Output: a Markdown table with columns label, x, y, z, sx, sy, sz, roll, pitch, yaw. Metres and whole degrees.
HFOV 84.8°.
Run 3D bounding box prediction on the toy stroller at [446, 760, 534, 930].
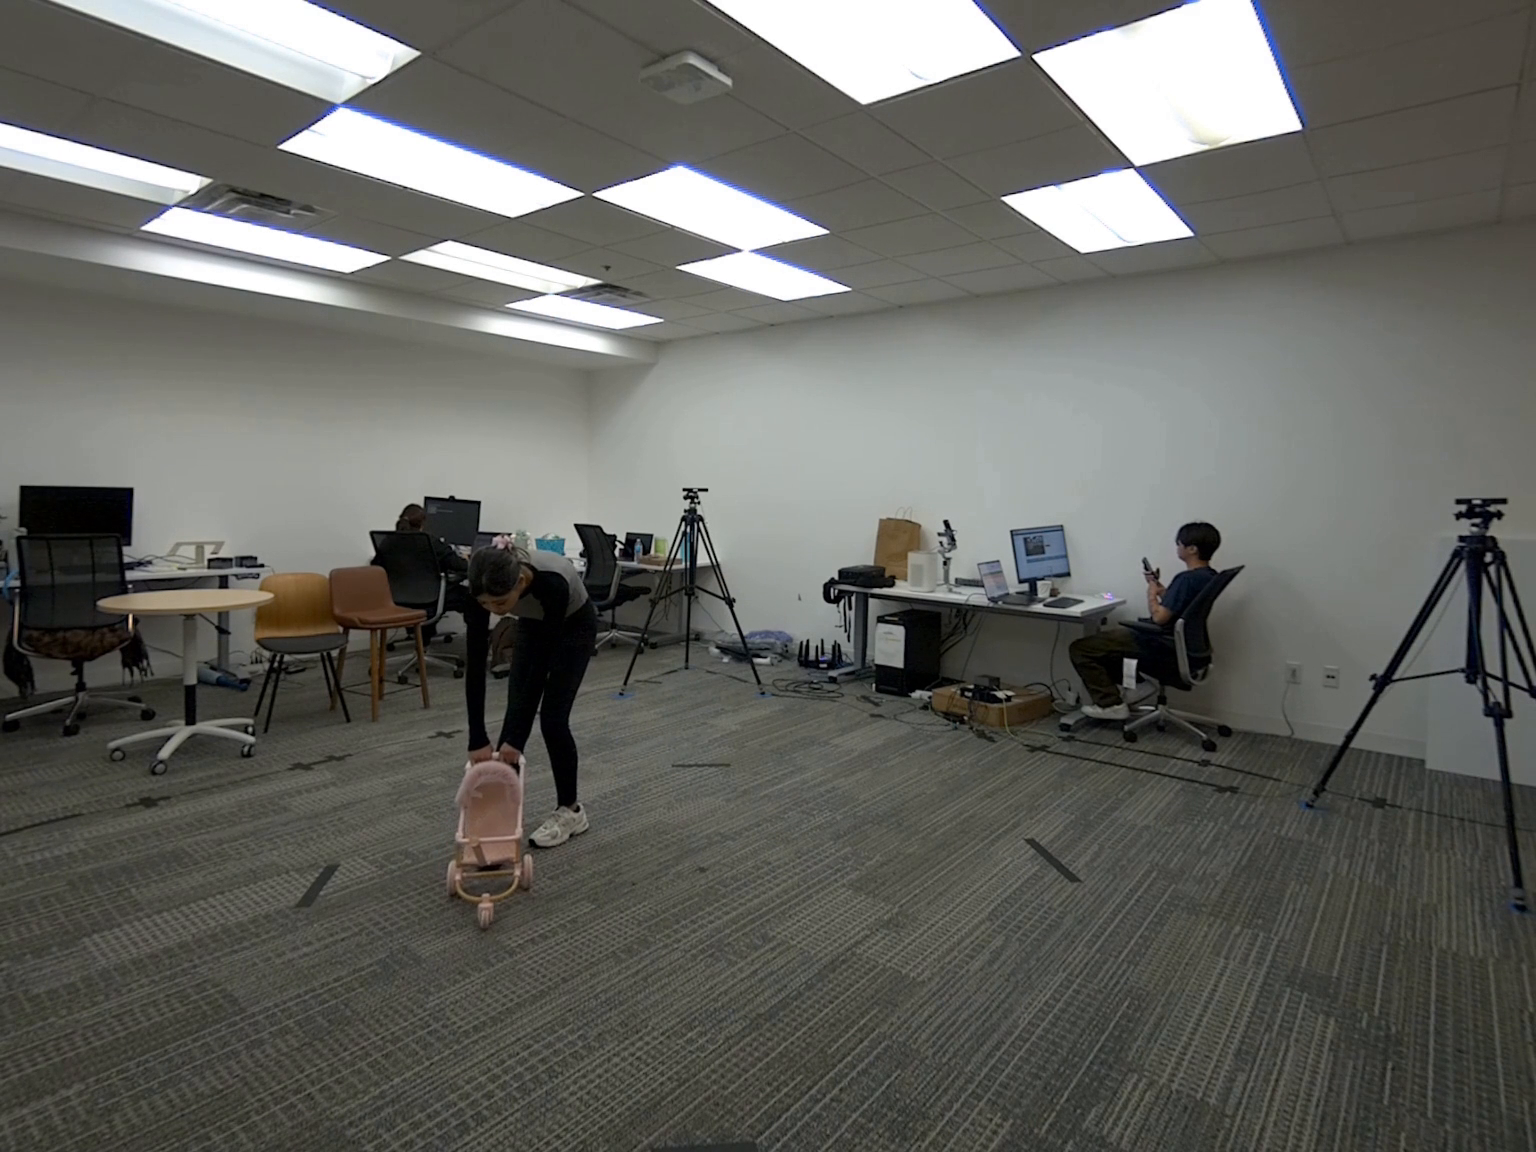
| label | x | y | z | sx | sy | sz | roll | pitch | yaw |
| --- | --- | --- | --- | --- | --- | --- | --- | --- | --- |
| toy stroller | -0.949 | 0.861 | 2.848 | 0.279 | 0.541 | 0.341 | 0 | -12 | -10 |
